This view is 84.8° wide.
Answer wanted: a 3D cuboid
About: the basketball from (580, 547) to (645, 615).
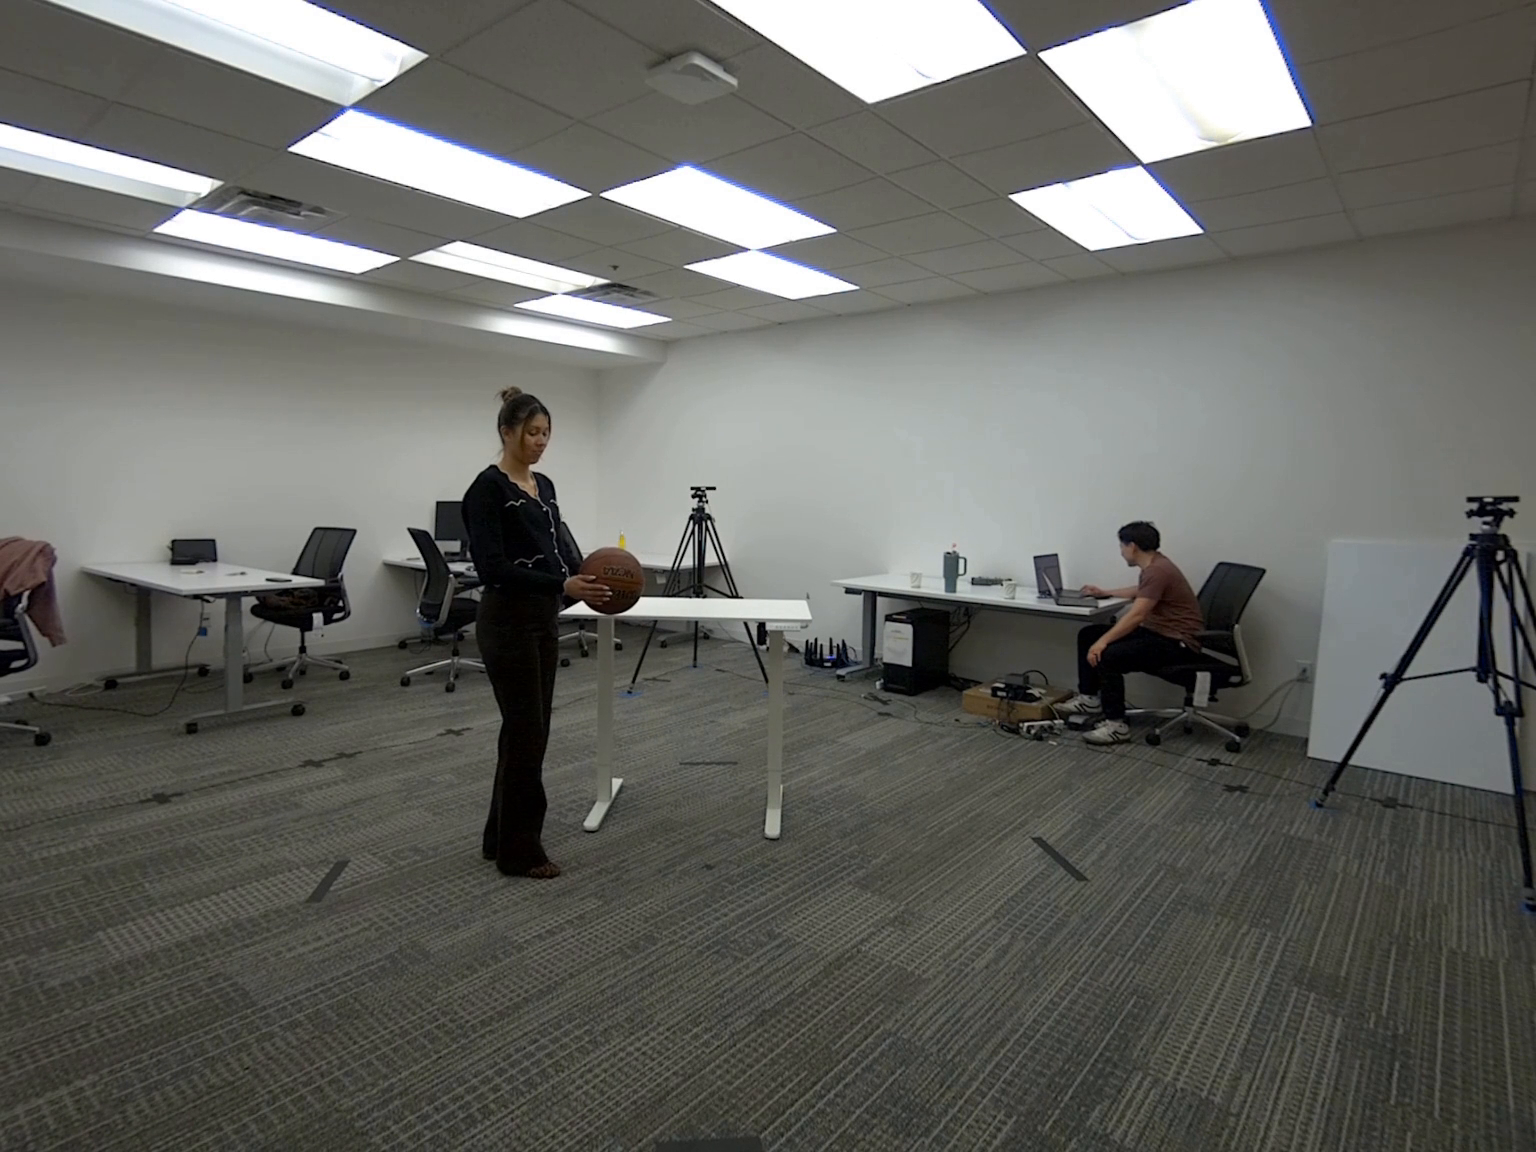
[{"bbox_3d":[-0.561,0.018,2.964,0.235,0.235,0.237,1,4,-2],"label":"basketball"}]
